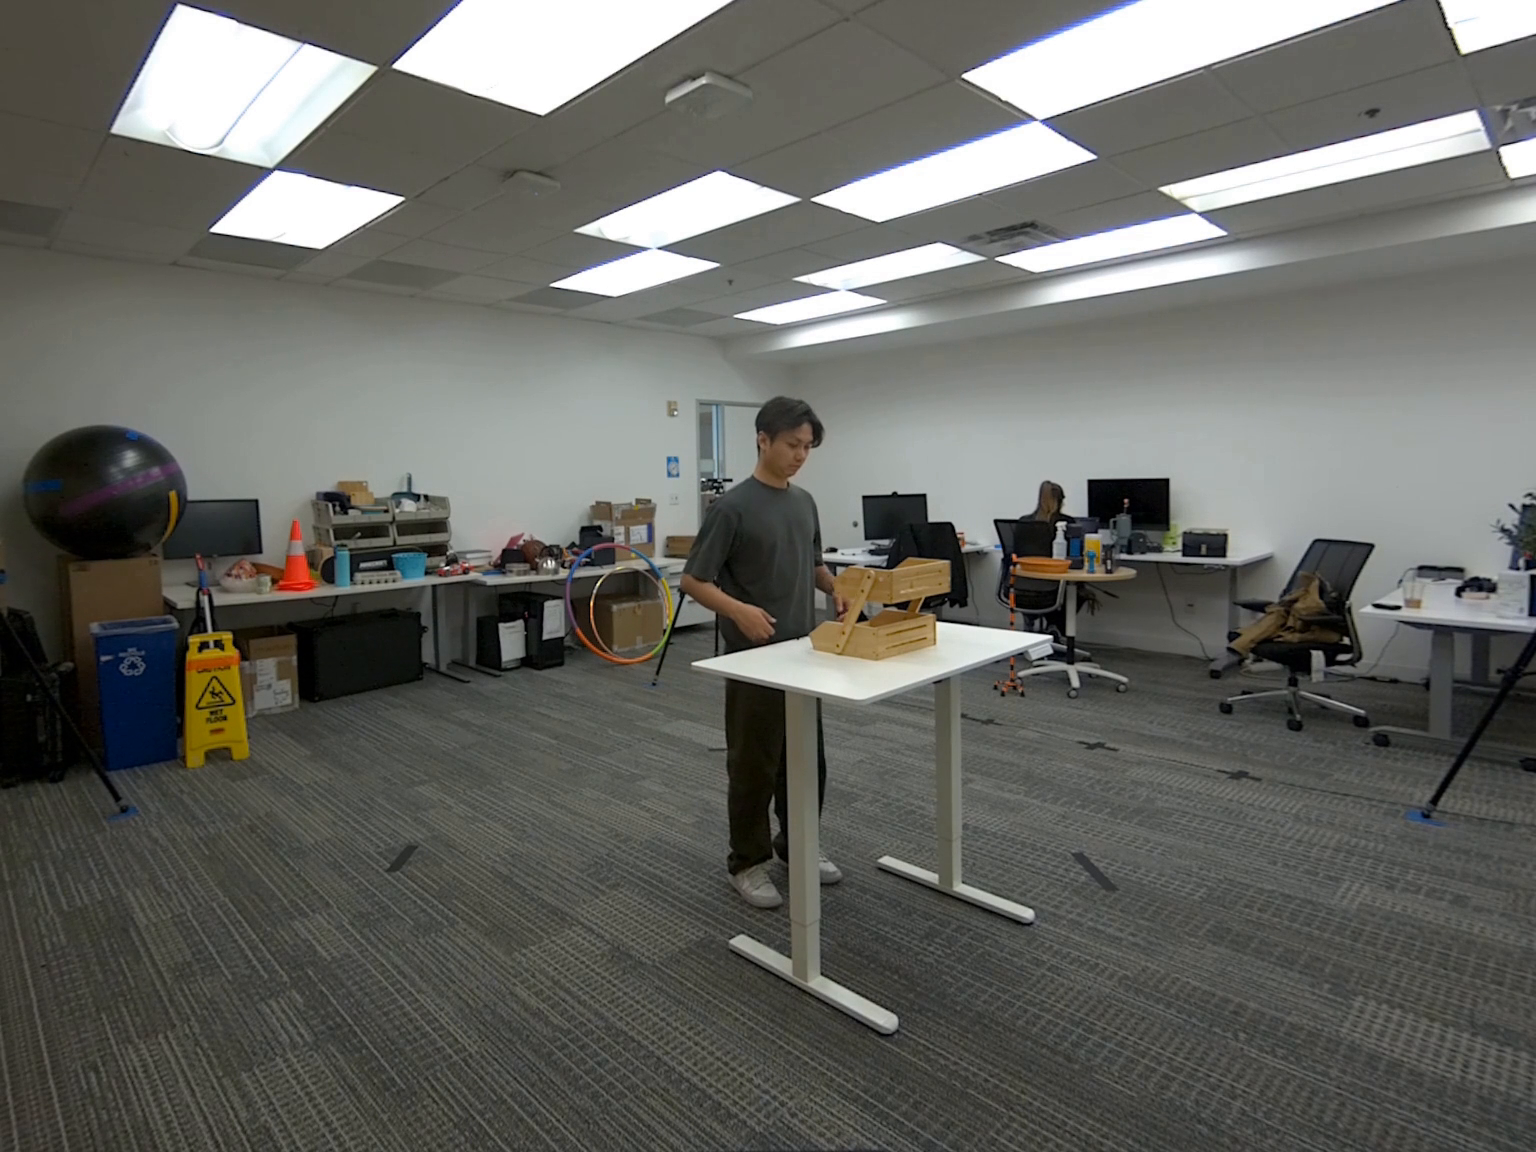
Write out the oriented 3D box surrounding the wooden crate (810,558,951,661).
[{"bbox_3d":[0.336,0.084,2.560,0.311,0.272,0.316,5,9,45],"label":"wooden crate"}]
